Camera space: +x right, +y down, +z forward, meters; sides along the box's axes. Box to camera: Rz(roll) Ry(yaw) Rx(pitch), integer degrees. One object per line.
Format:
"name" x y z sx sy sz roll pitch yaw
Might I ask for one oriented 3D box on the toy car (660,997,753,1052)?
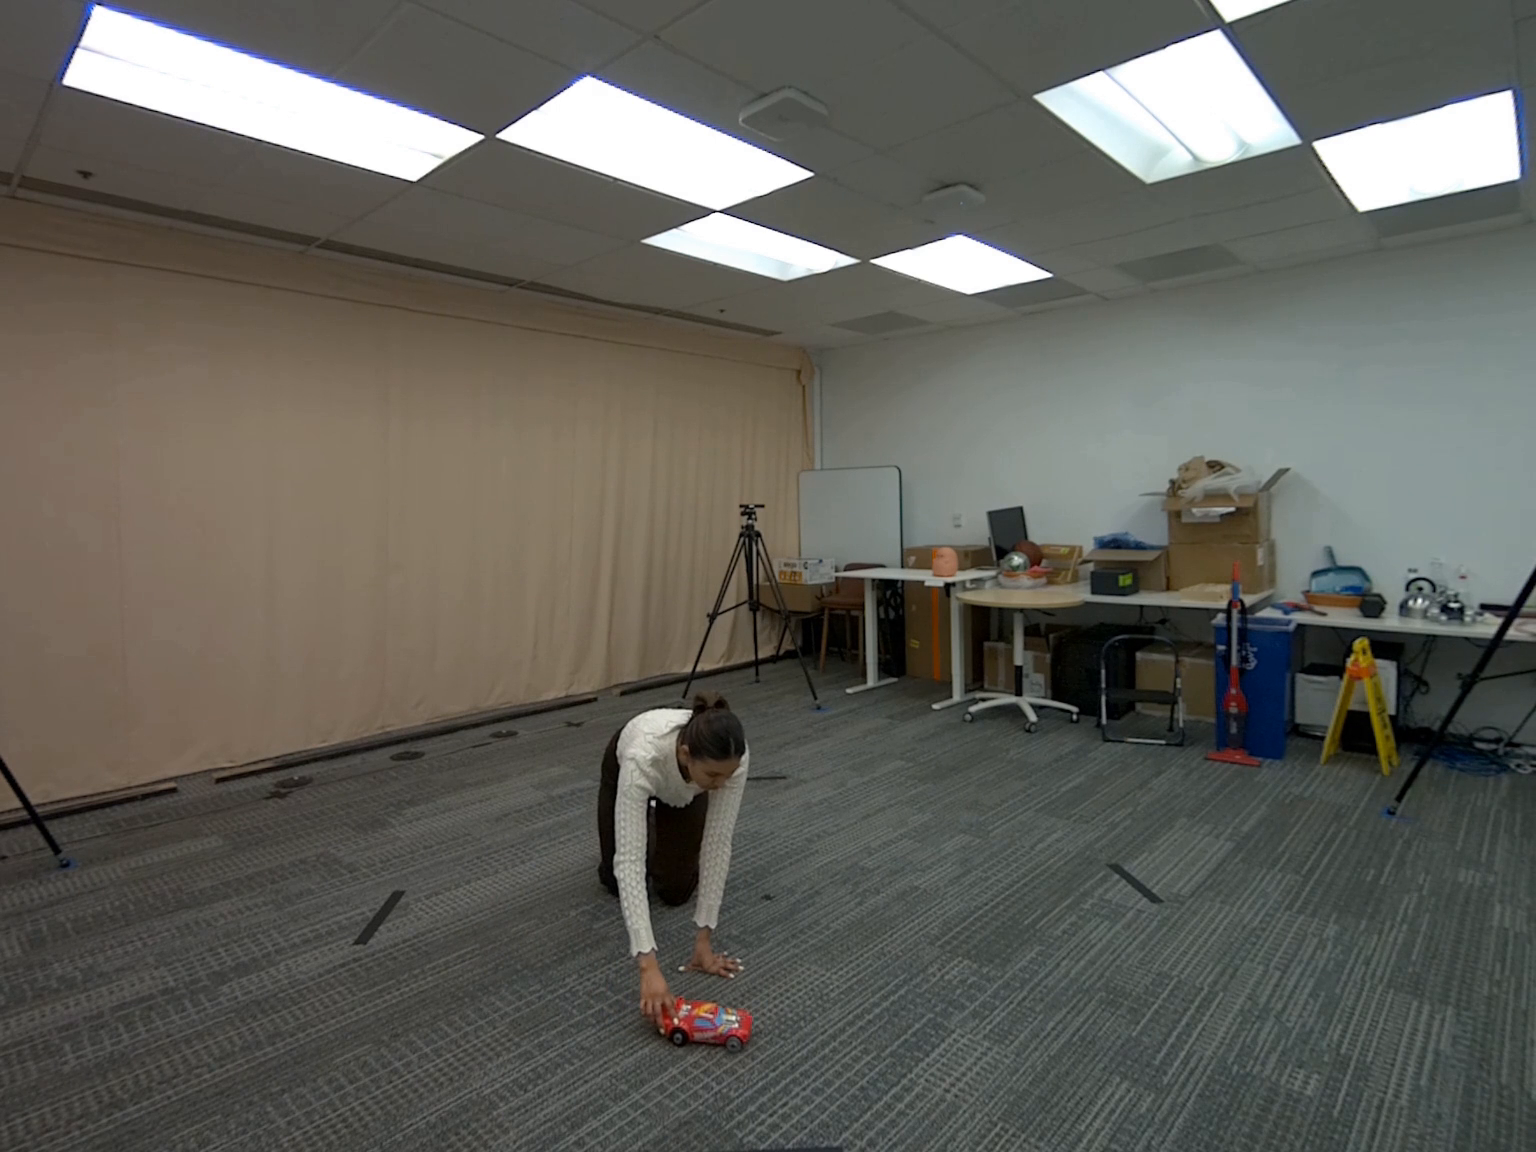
"toy car" -0.170 1.179 2.209 0.258 0.083 0.129 9 6 11
